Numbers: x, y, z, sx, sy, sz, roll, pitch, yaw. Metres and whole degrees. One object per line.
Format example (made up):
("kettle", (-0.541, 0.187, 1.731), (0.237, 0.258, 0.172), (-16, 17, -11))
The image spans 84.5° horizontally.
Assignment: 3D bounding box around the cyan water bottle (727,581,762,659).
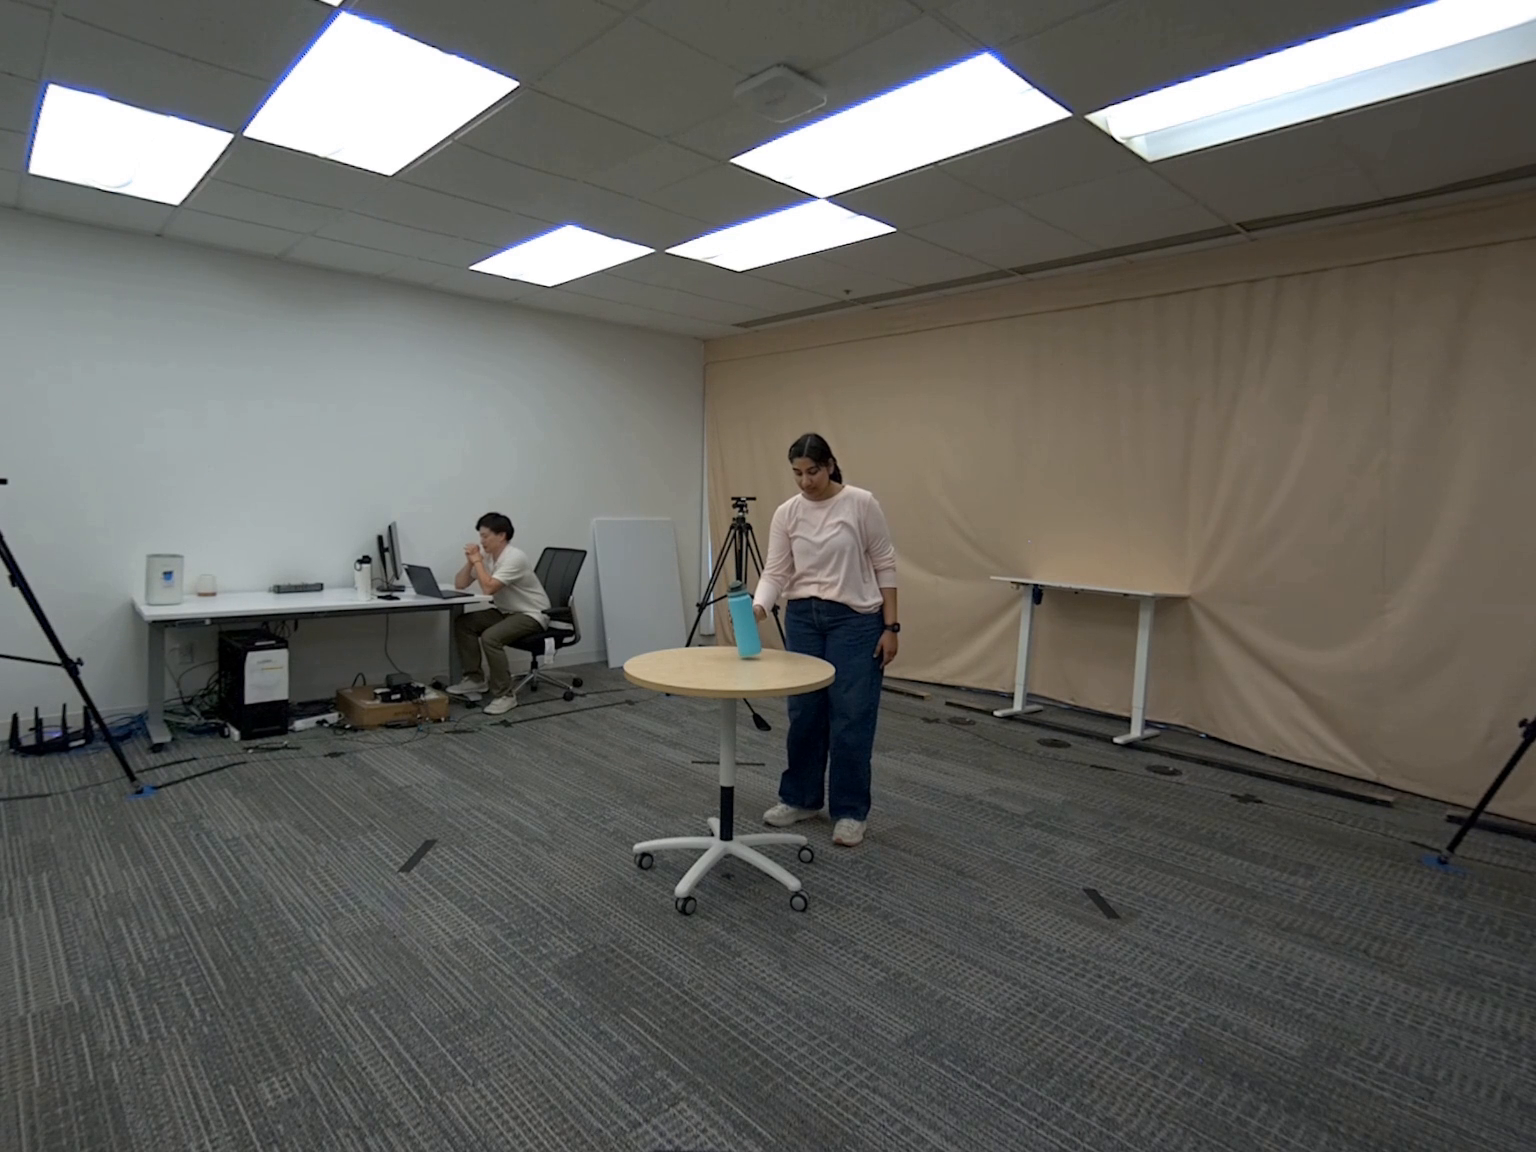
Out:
("cyan water bottle", (-0.099, 0.162, 3.179), (0.092, 0.282, 0.093), (-8, 4, -1))
